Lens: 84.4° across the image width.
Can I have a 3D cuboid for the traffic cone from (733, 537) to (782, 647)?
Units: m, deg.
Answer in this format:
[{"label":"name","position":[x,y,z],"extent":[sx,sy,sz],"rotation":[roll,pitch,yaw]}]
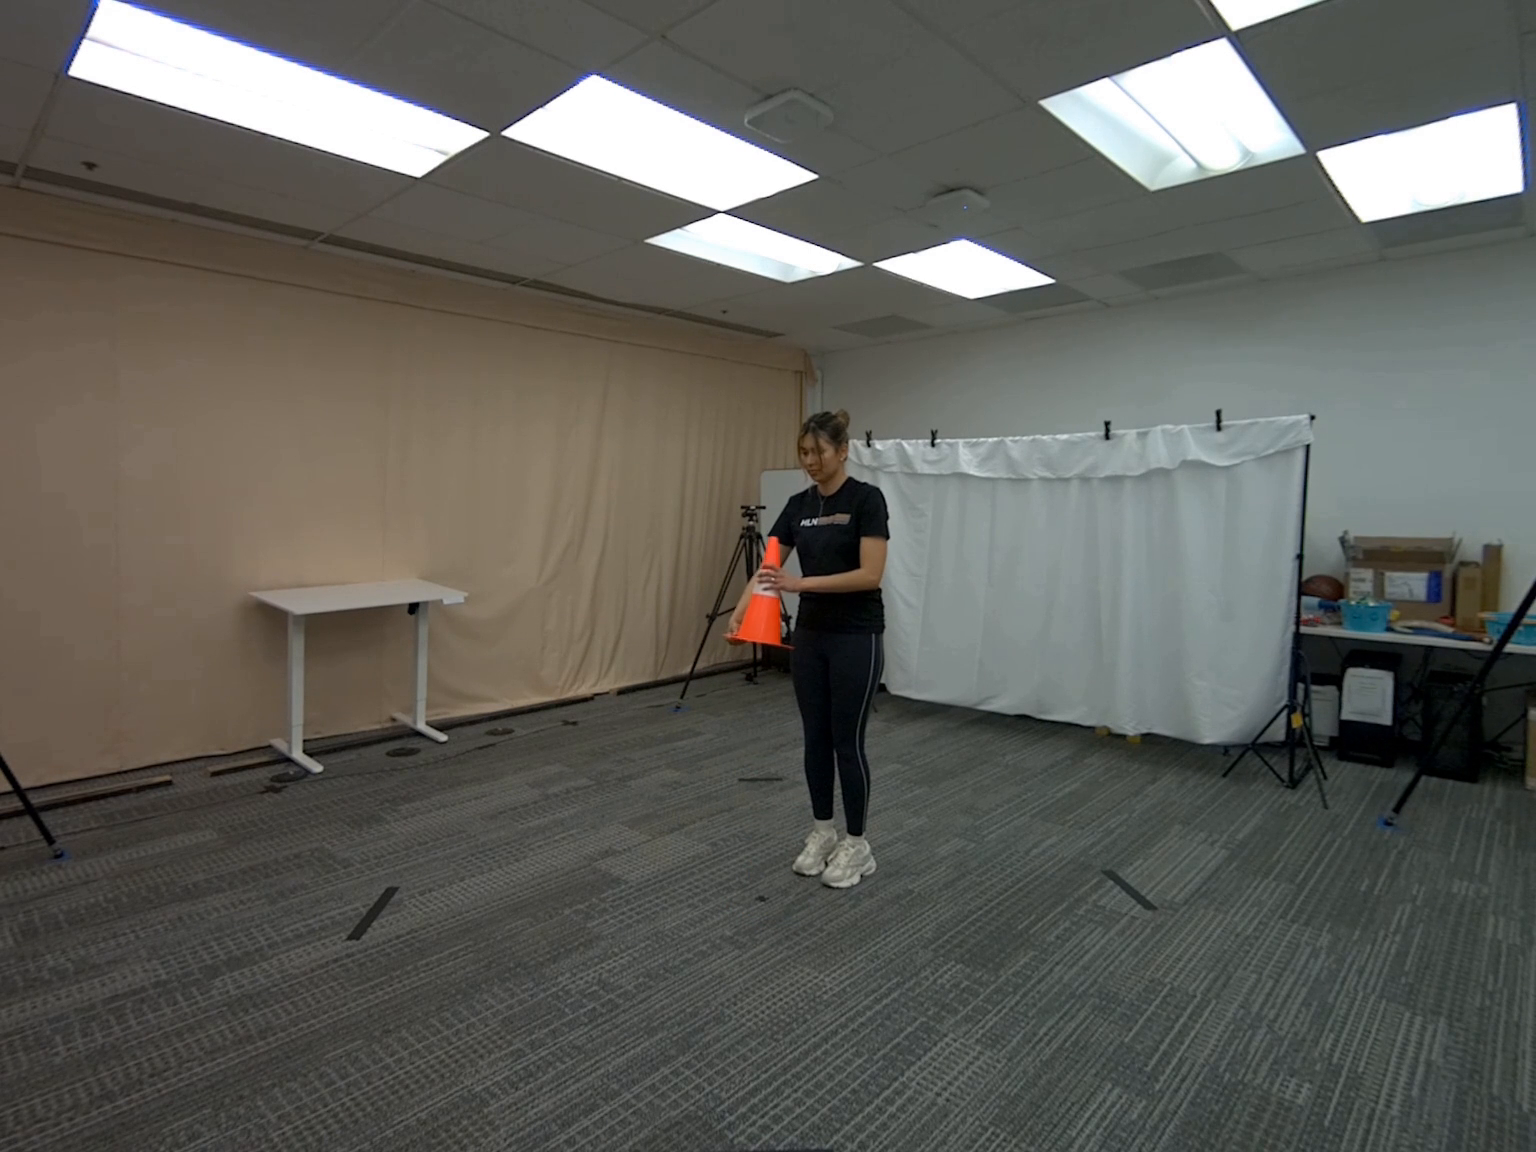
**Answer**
[{"label":"traffic cone","position":[0.001,0.049,3.036],"extent":[0.198,0.384,0.210],"rotation":[10,-5,-43]}]
